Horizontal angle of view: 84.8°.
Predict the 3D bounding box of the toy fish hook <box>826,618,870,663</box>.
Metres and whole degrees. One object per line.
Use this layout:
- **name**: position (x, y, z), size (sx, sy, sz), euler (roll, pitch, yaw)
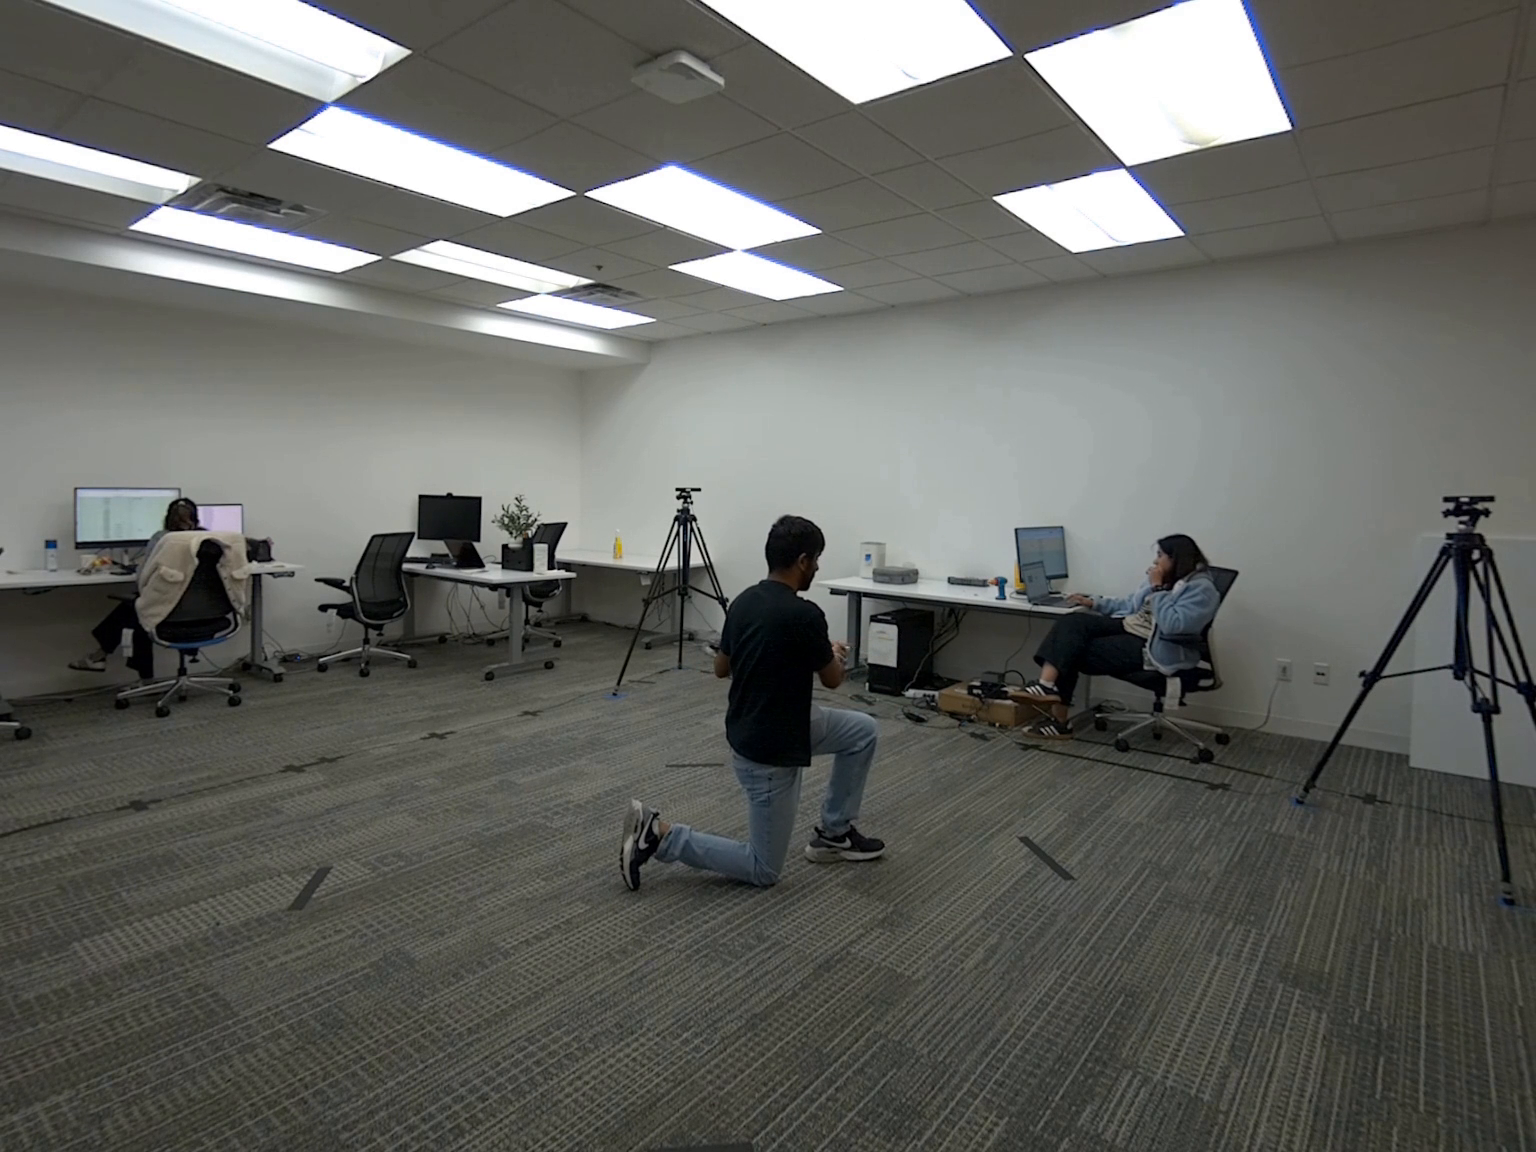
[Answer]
- **toy fish hook**: position (0.136, 0.244, 3.482), size (0.521, 0.047, 0.223), euler (5, 29, 29)
